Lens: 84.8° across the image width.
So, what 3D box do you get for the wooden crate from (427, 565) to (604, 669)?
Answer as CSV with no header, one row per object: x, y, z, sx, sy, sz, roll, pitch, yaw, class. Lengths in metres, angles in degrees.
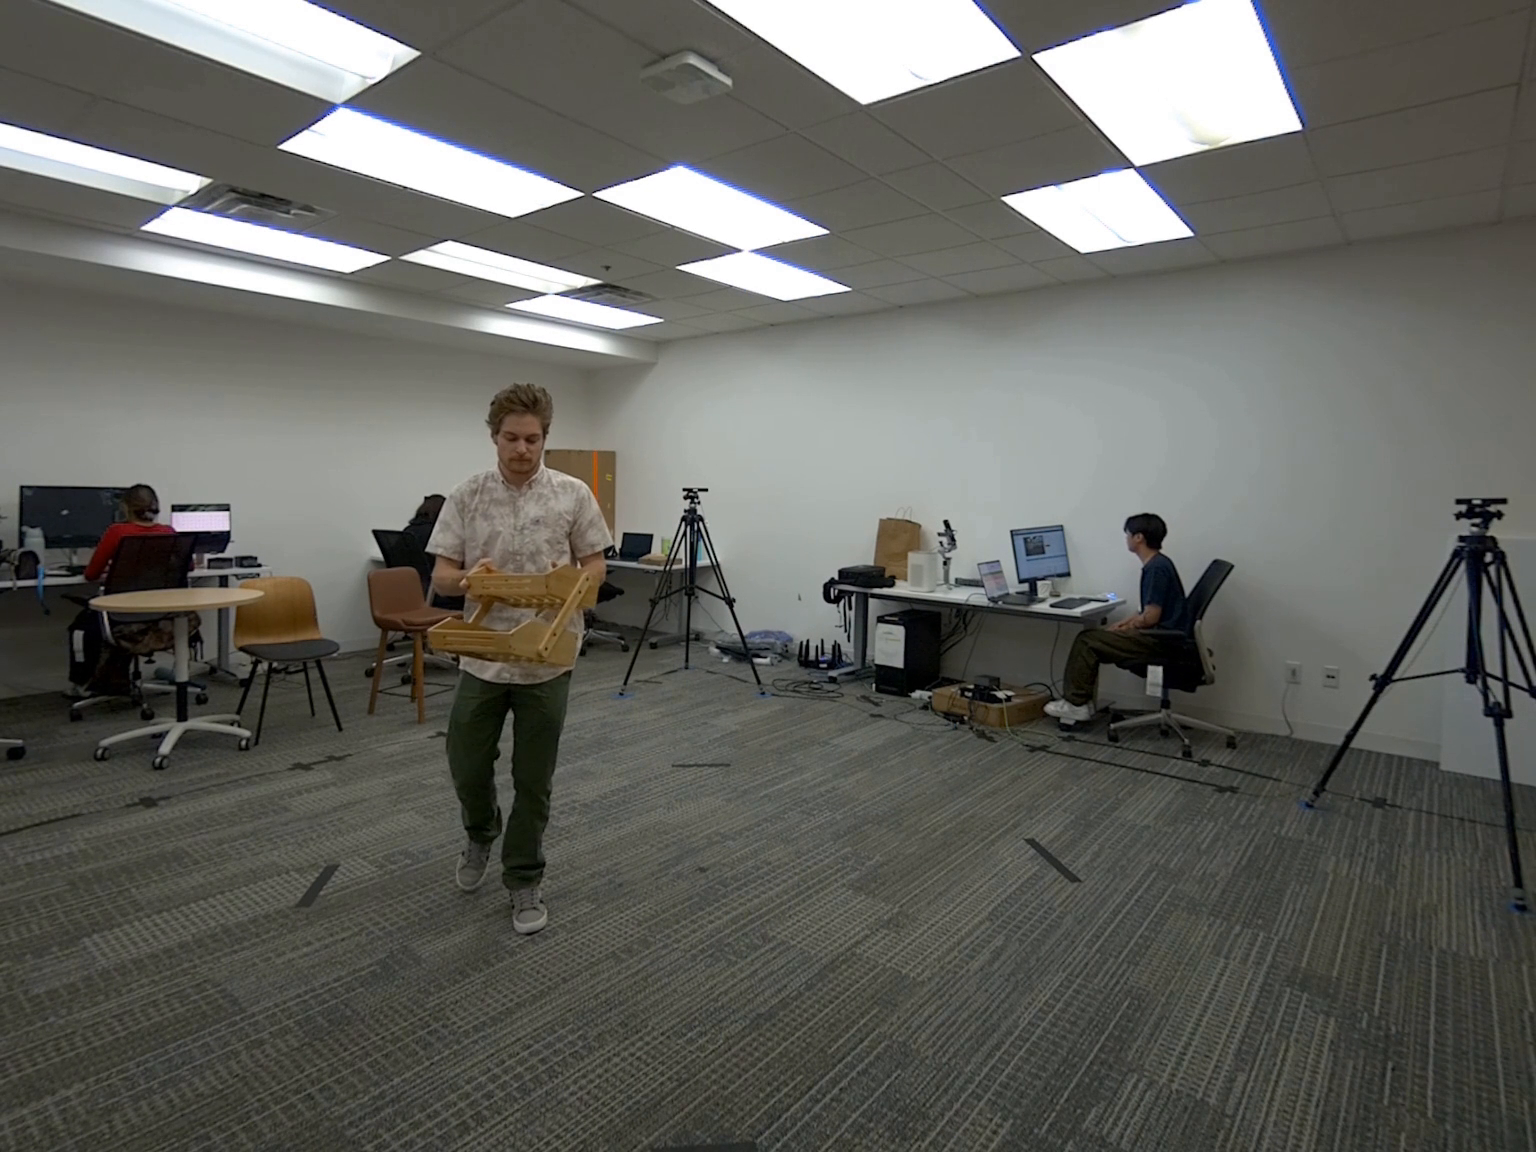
-0.693,0.090,2.292,0.333,0.276,0.290,-1,-15,29,wooden crate
